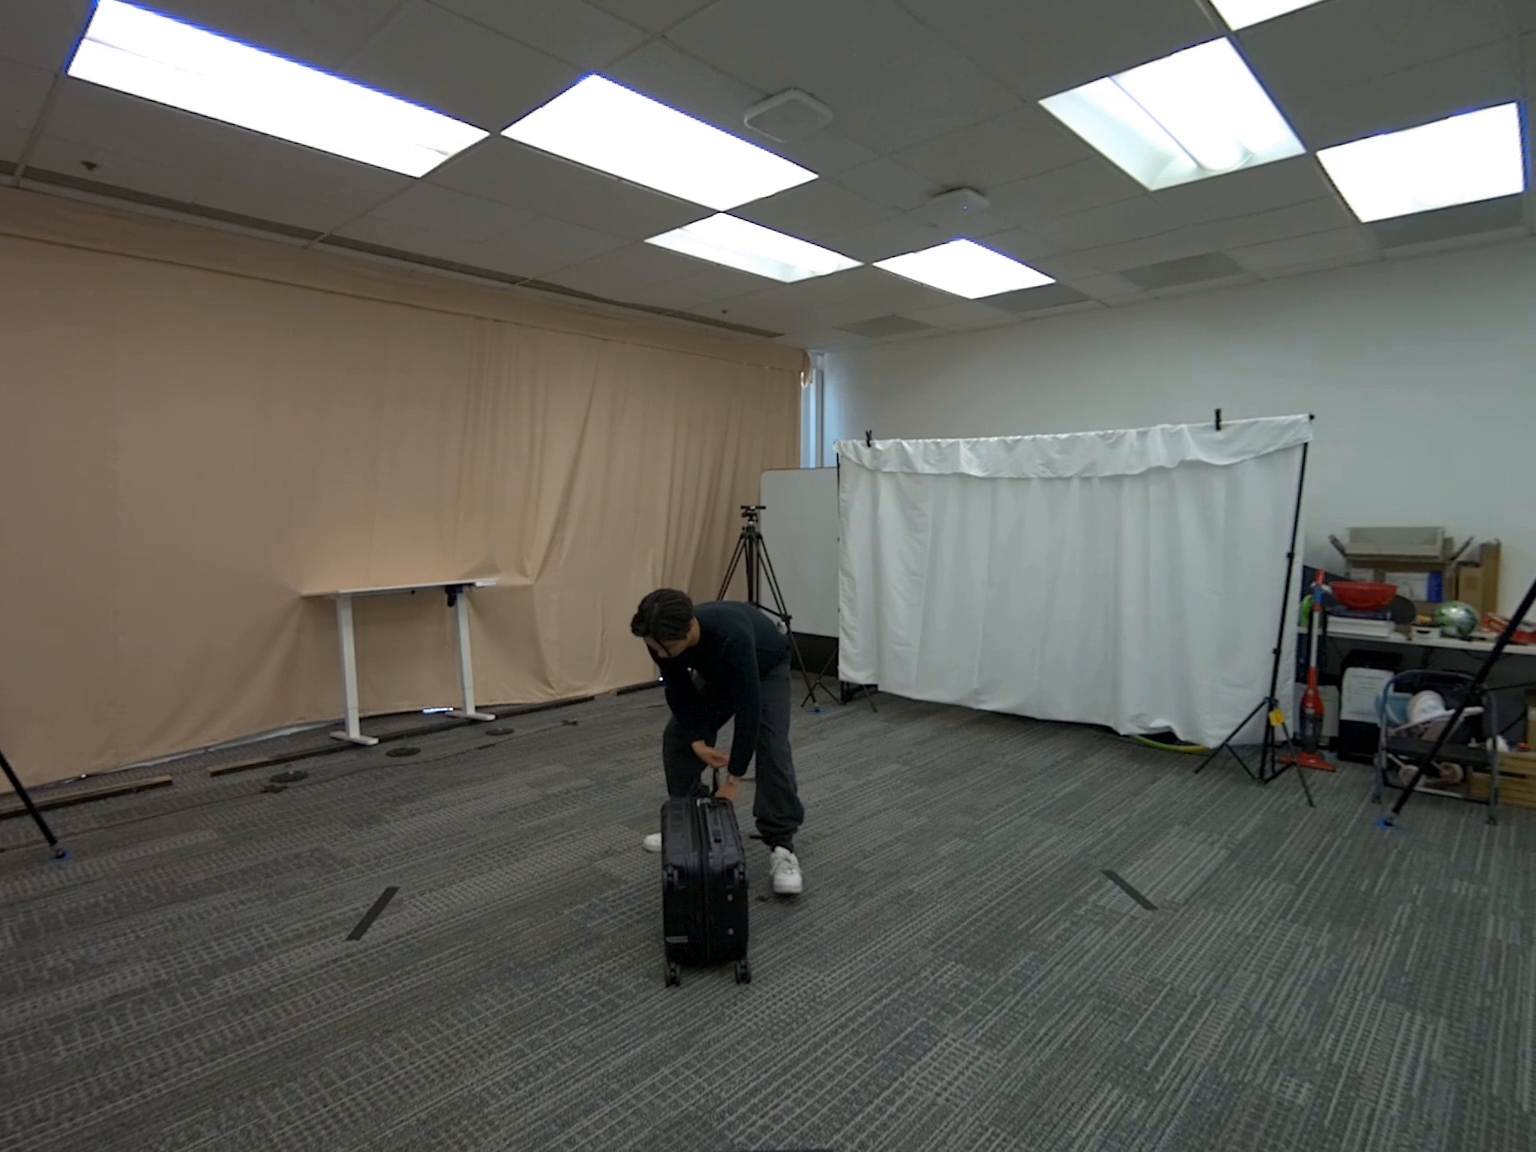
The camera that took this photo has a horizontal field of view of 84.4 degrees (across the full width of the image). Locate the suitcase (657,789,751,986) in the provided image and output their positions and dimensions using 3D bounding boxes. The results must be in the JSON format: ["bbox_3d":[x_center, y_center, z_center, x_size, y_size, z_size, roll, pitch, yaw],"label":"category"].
[{"bbox_3d":[-0.247,0.918,2.896,0.254,0.382,0.993,0,9,-10],"label":"suitcase"}]
